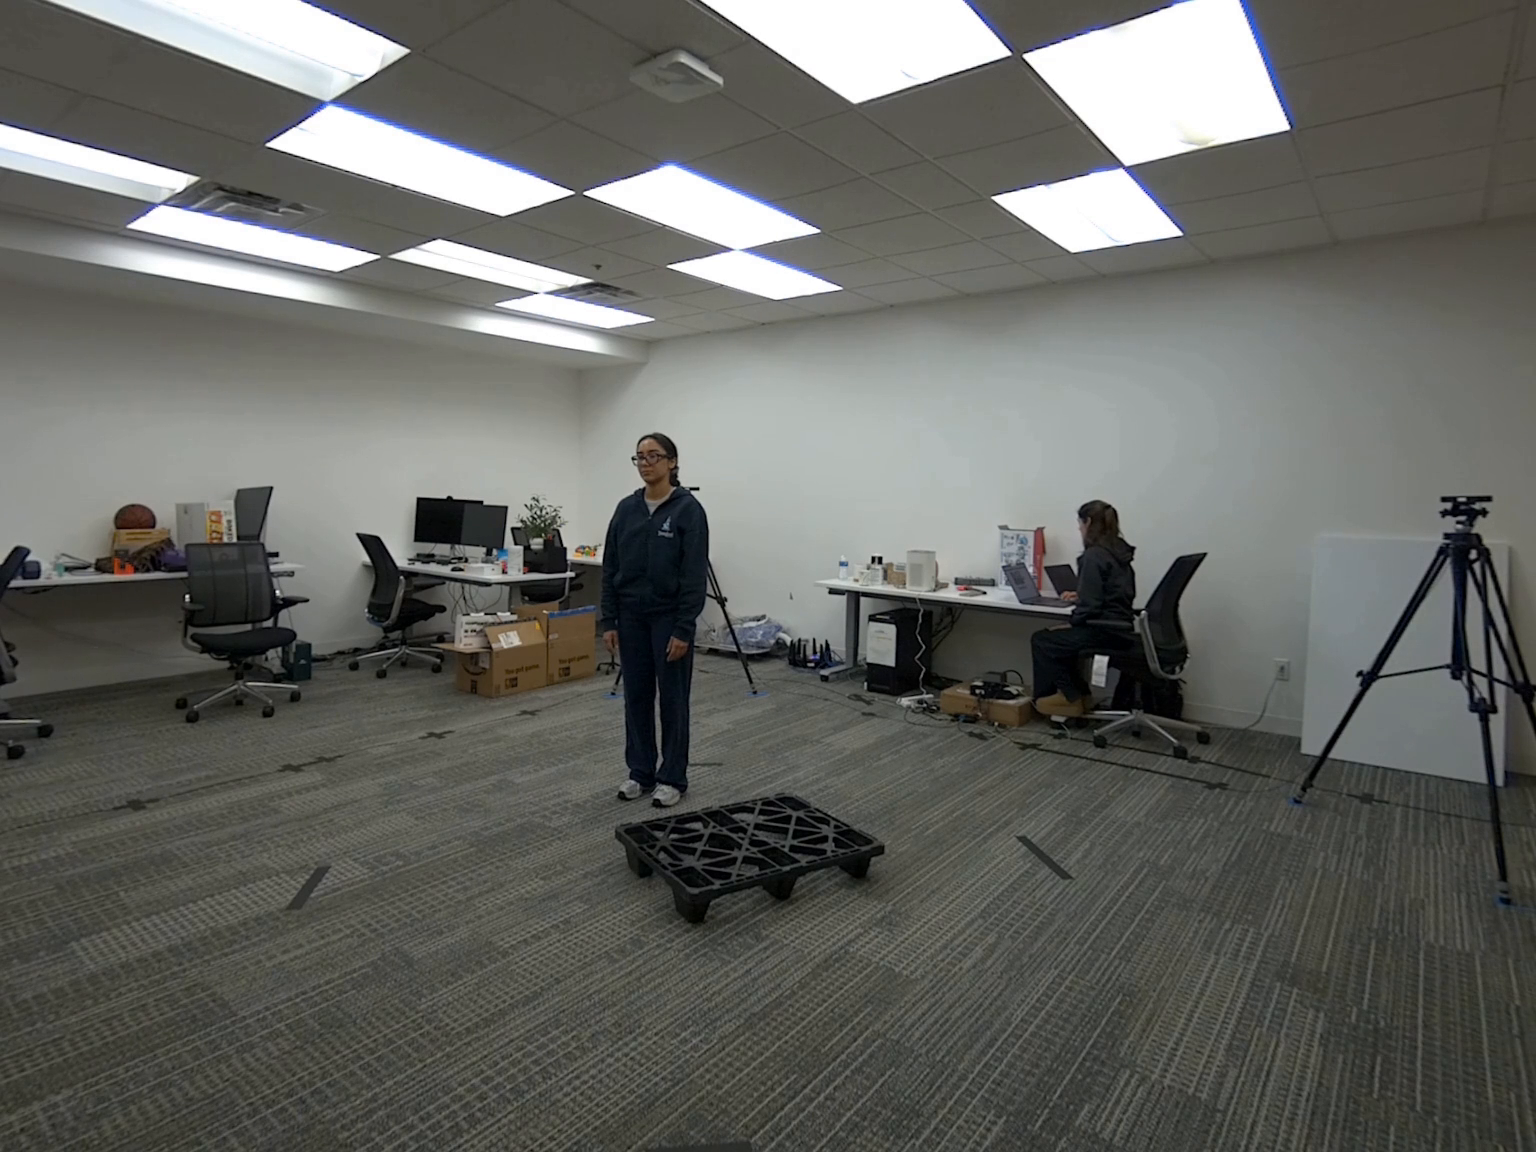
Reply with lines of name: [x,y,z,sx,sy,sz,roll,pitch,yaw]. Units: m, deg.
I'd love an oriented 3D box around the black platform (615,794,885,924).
black platform: [-0.080,1.004,3.087,0.783,0.143,0.625,-3,7,-32]
